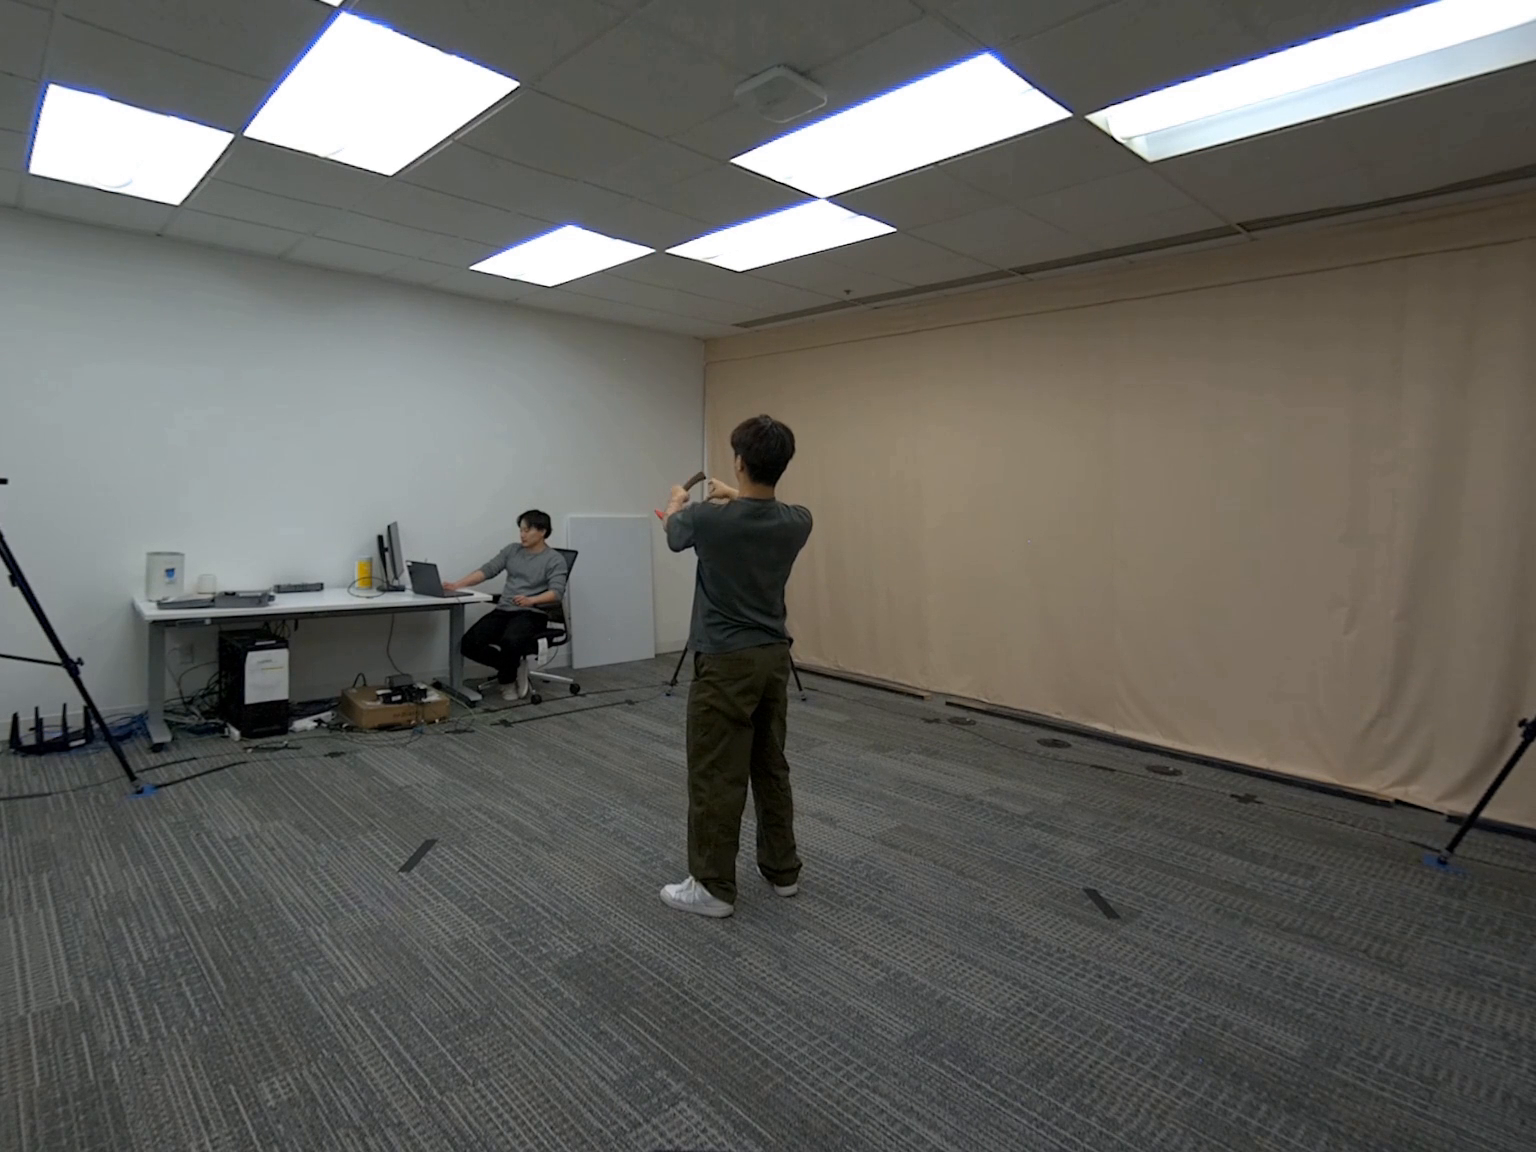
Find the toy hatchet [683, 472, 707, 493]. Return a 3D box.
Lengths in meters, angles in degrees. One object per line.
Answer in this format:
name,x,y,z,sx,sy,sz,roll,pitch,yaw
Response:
toy hatchet,-0.305,-0.292,3.309,0.270,0.131,0.029,-44,0,-23
